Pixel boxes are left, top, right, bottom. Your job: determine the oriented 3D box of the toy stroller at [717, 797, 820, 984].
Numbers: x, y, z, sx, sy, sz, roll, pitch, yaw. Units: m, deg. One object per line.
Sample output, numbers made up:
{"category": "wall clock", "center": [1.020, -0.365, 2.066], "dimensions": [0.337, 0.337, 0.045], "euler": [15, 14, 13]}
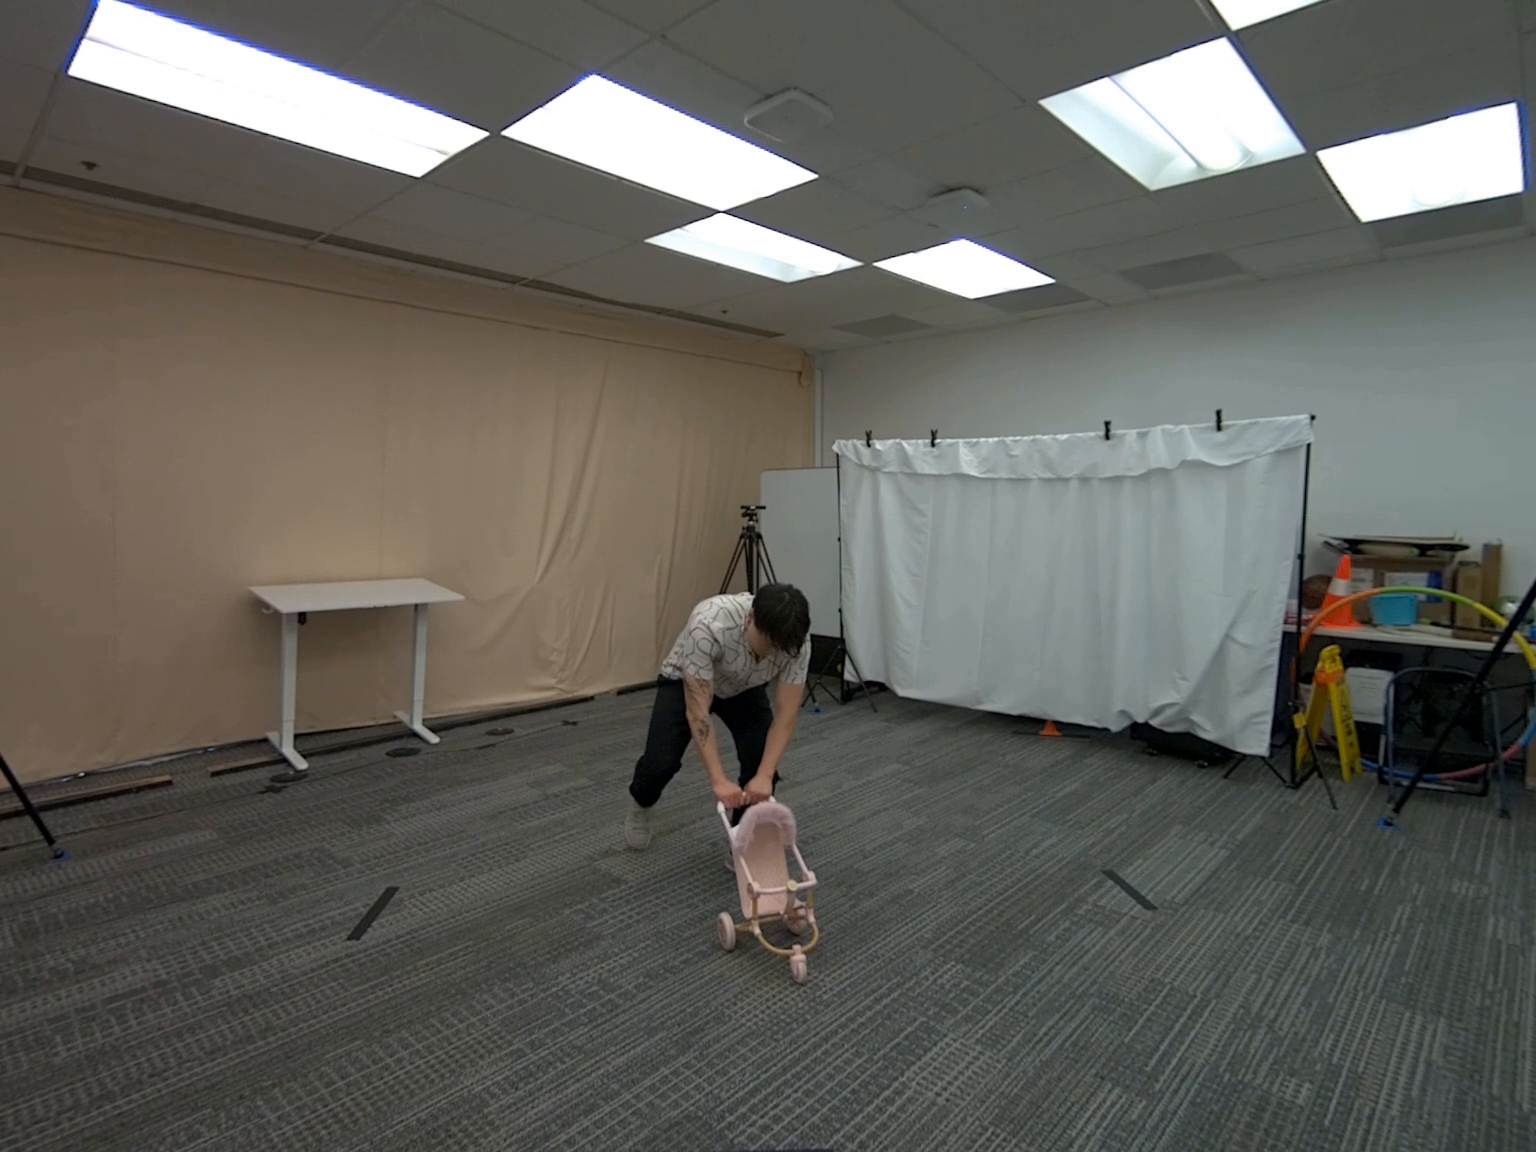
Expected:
{"category": "toy stroller", "center": [0.012, 0.951, 2.629], "dimensions": [0.276, 0.540, 0.345], "euler": [-2, -12, -21]}
